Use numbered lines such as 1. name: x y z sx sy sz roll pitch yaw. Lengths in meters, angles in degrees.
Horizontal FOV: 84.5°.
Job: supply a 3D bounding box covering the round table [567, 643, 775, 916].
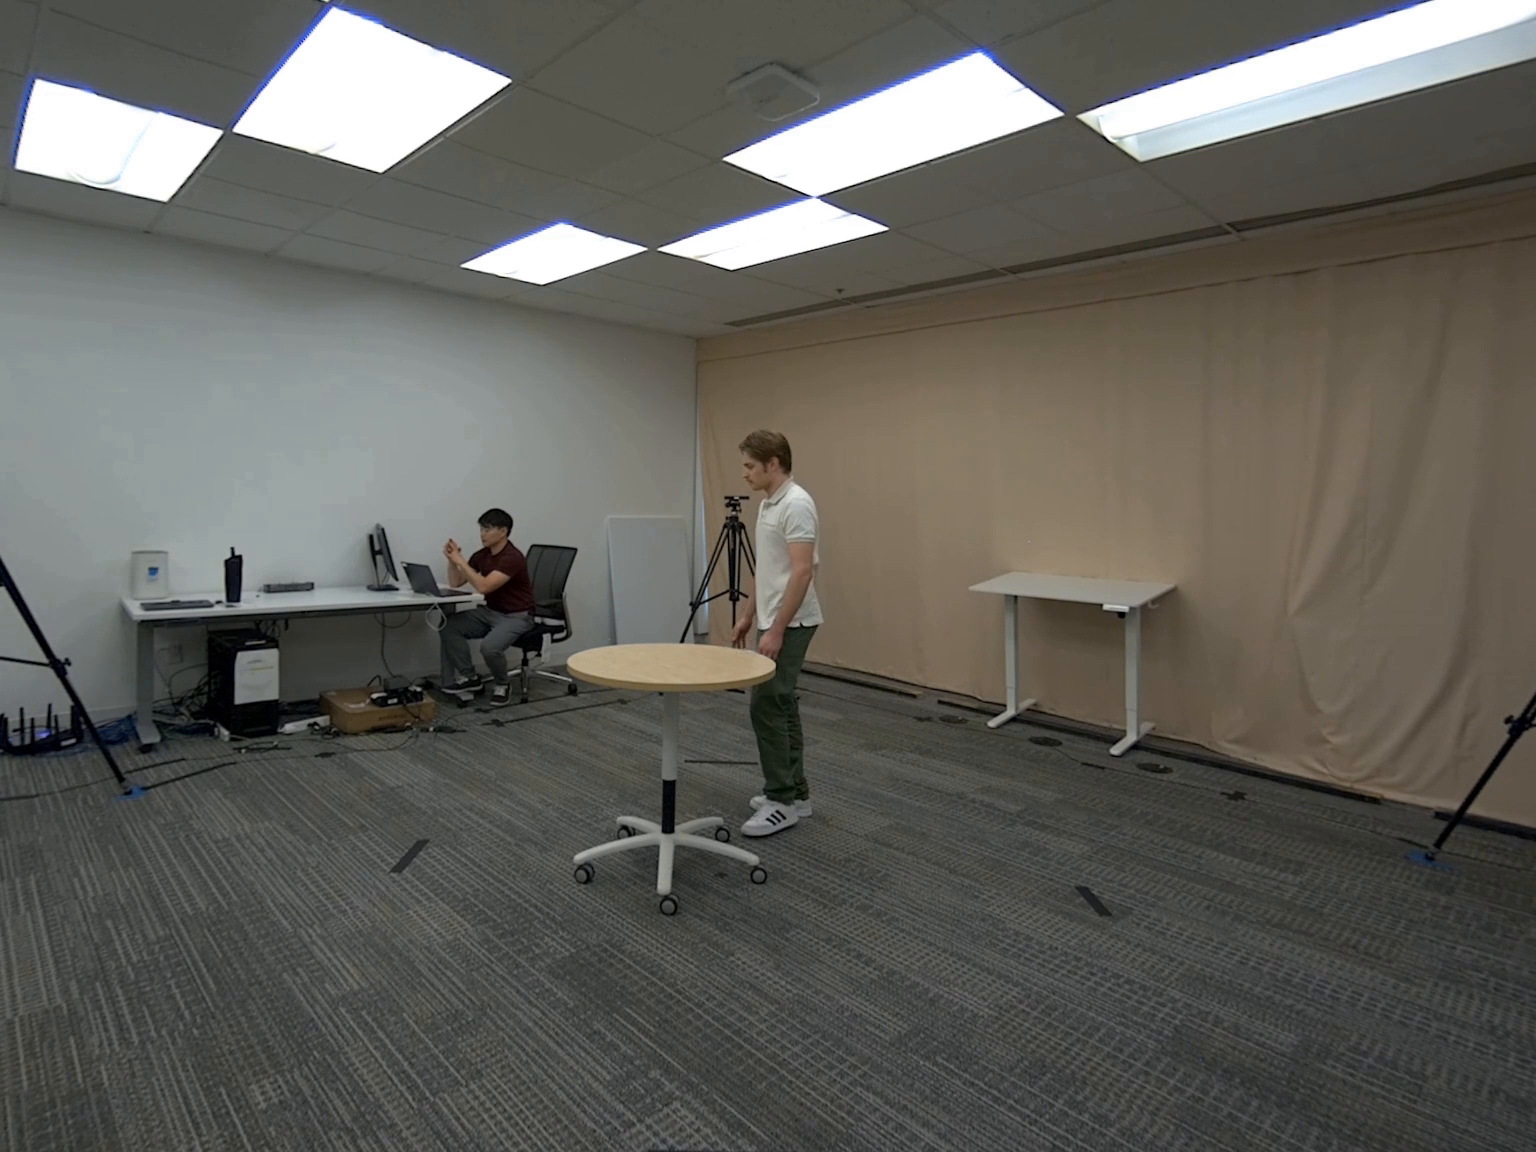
1. round table: -0.383 0.705 3.122 0.784 0.784 0.787 2 4 -1
